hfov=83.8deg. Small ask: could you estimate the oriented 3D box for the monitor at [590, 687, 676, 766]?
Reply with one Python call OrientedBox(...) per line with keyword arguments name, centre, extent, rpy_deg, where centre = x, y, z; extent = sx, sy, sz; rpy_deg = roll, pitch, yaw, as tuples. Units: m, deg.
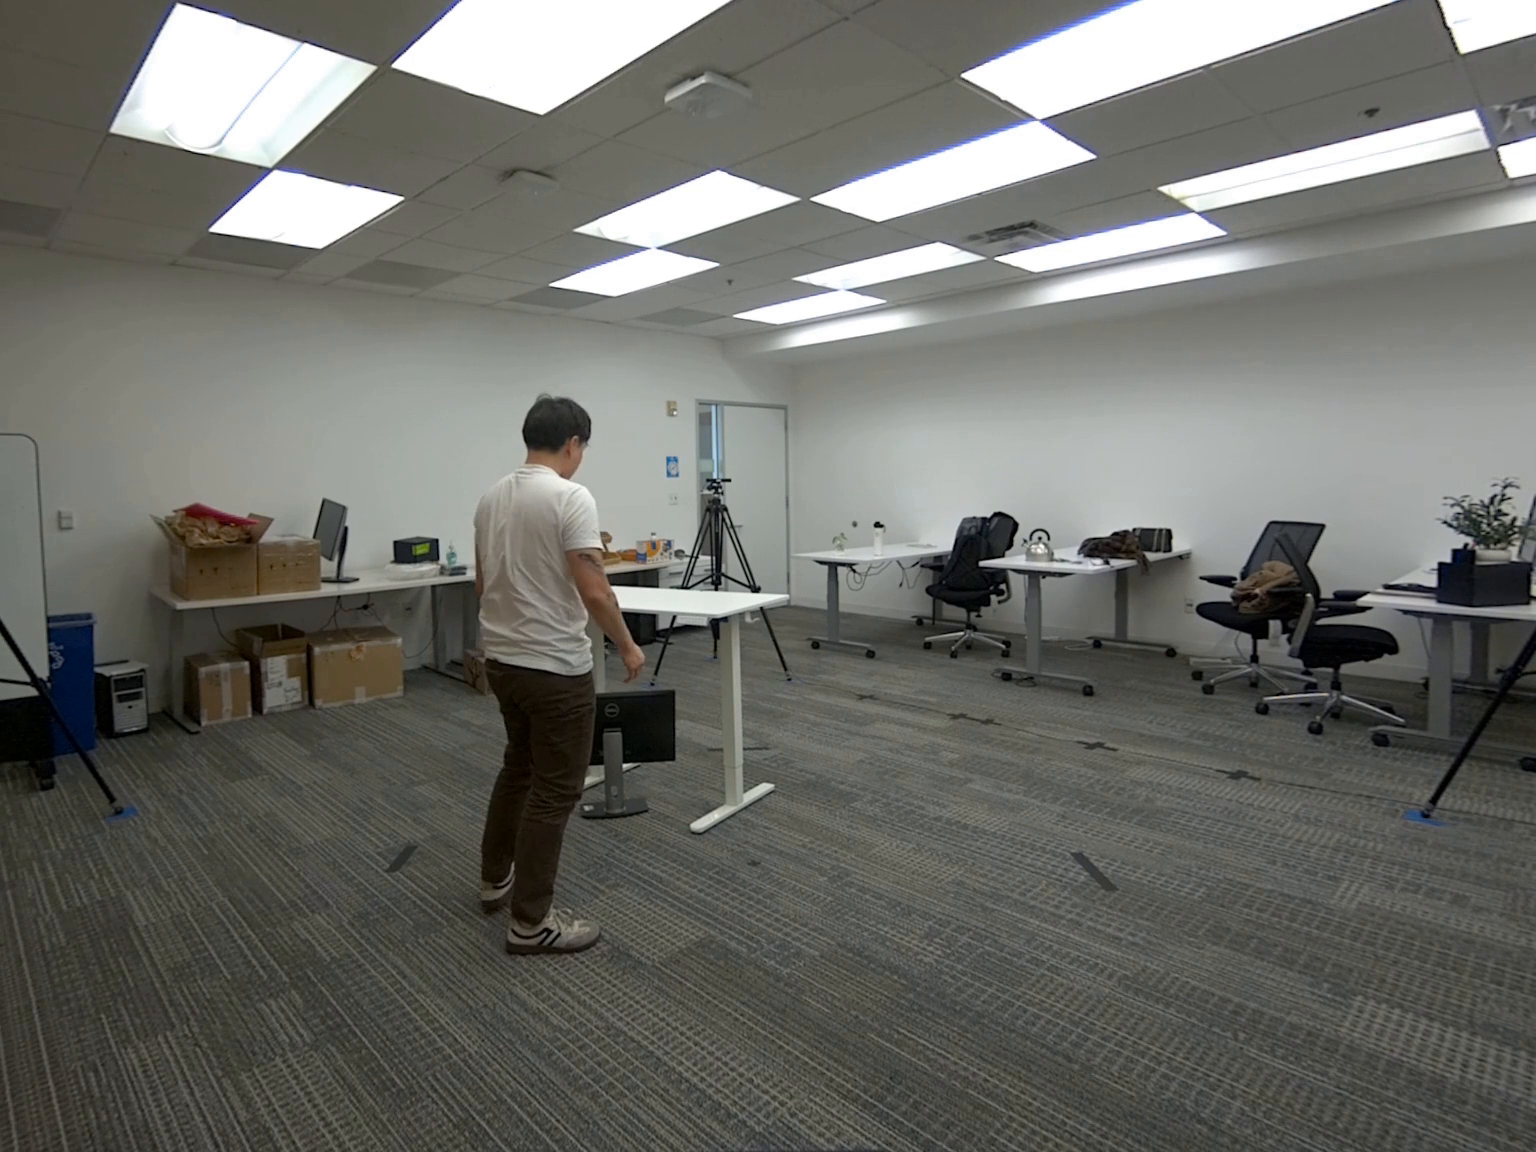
OrientedBox(name="monitor", centre=(-0.653, 0.744, 3.613), extent=(0.534, 0.520, 0.189), rpy_deg=(-1, 5, -9))
